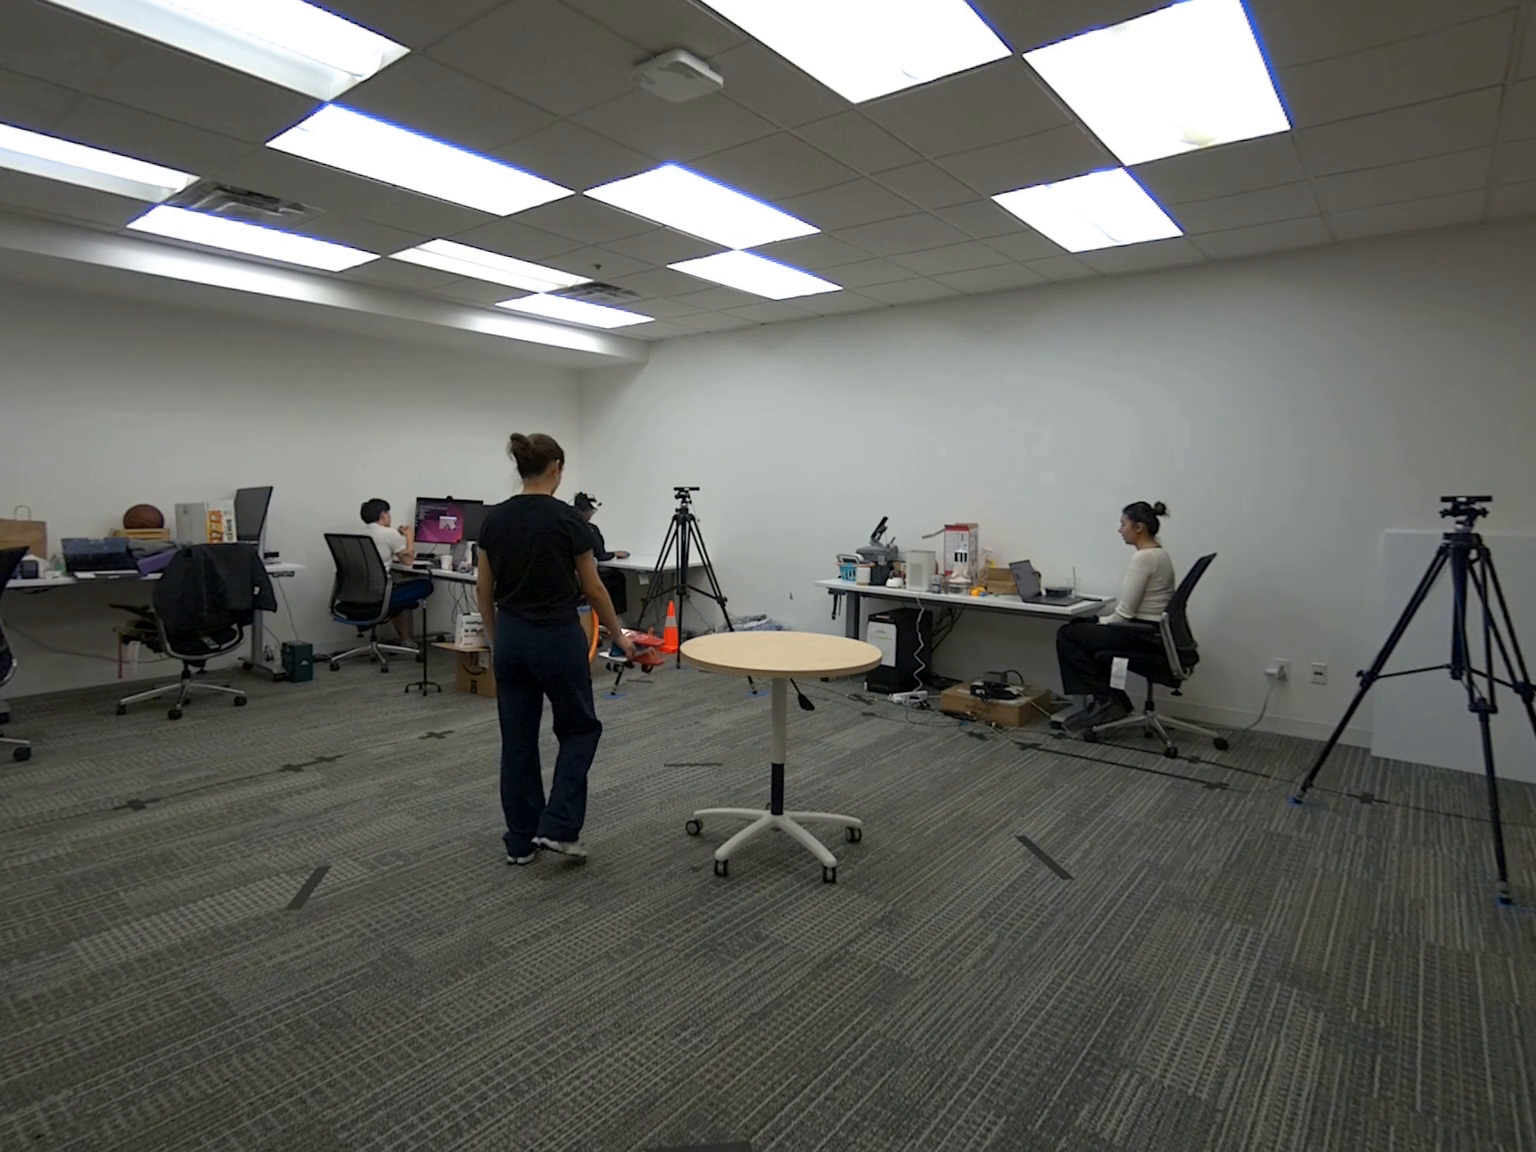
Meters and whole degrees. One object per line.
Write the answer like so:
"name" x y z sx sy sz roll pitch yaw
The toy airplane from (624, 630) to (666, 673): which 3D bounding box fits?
"toy airplane" -0.521 0.305 3.414 0.251 0.156 0.259 10 -1 -1
